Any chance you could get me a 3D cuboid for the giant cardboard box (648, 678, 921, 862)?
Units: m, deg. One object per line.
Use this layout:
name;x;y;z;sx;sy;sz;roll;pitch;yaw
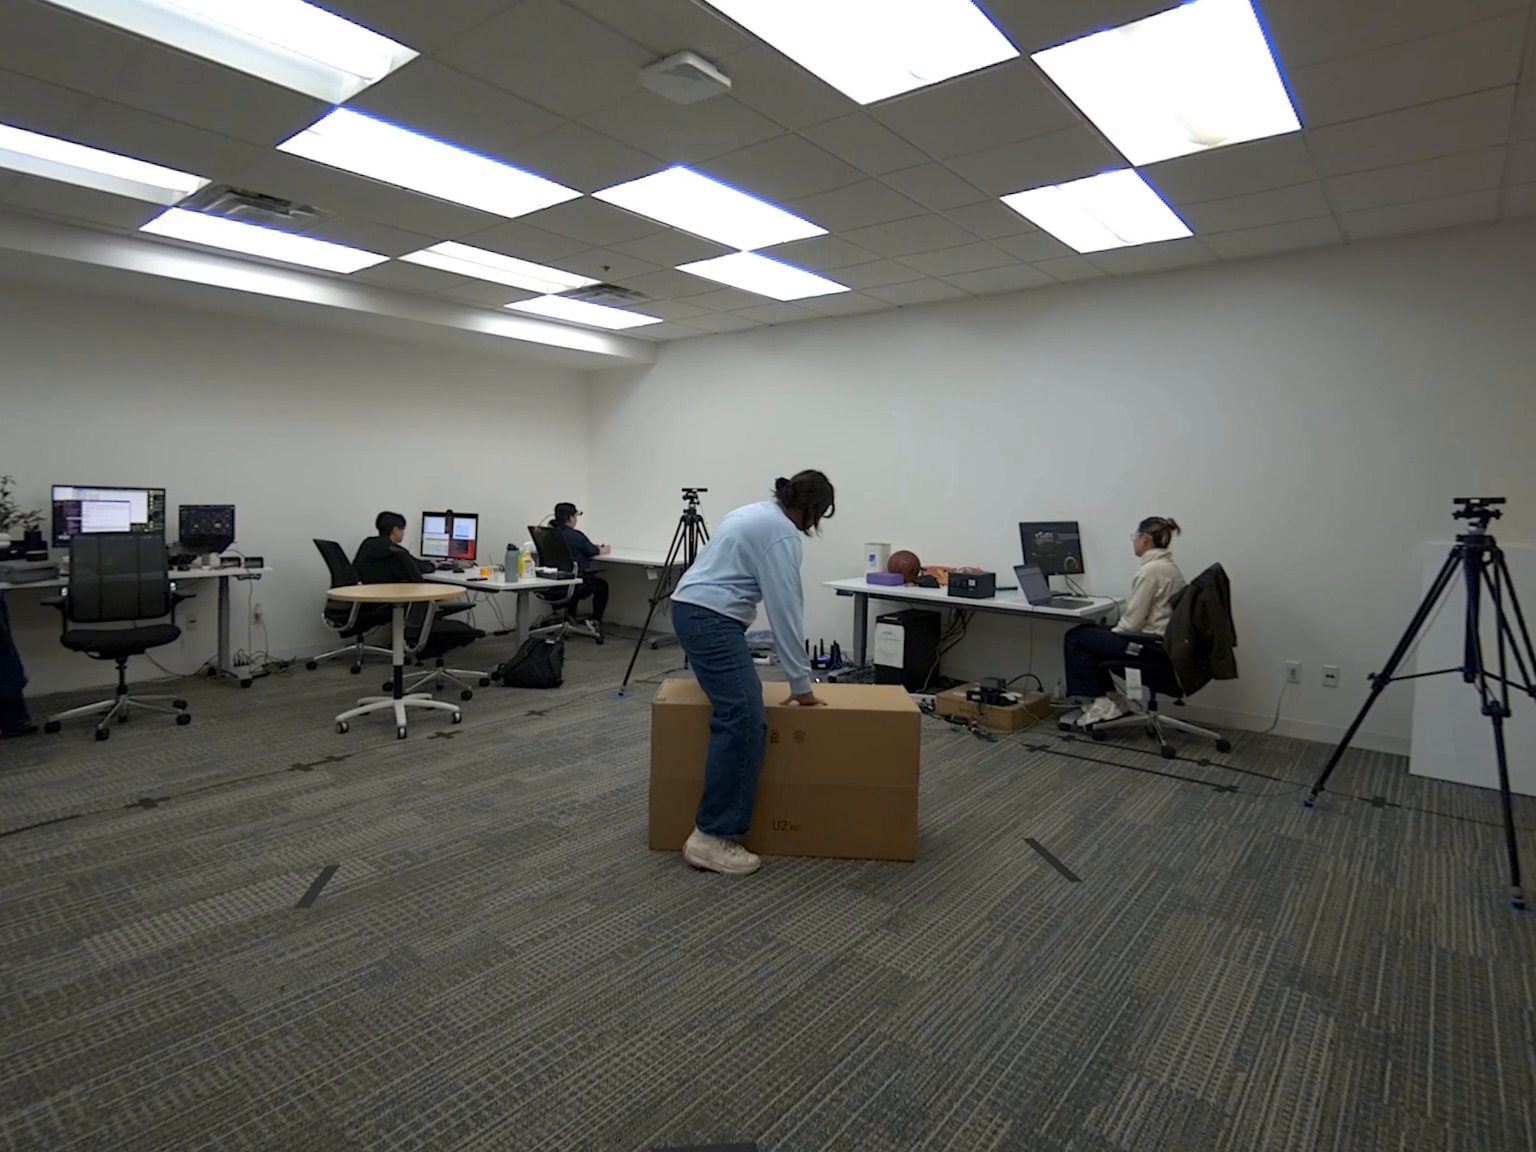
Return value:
giant cardboard box;0.053;0.755;3.436;1.029;0.576;0.426;1;3;3
